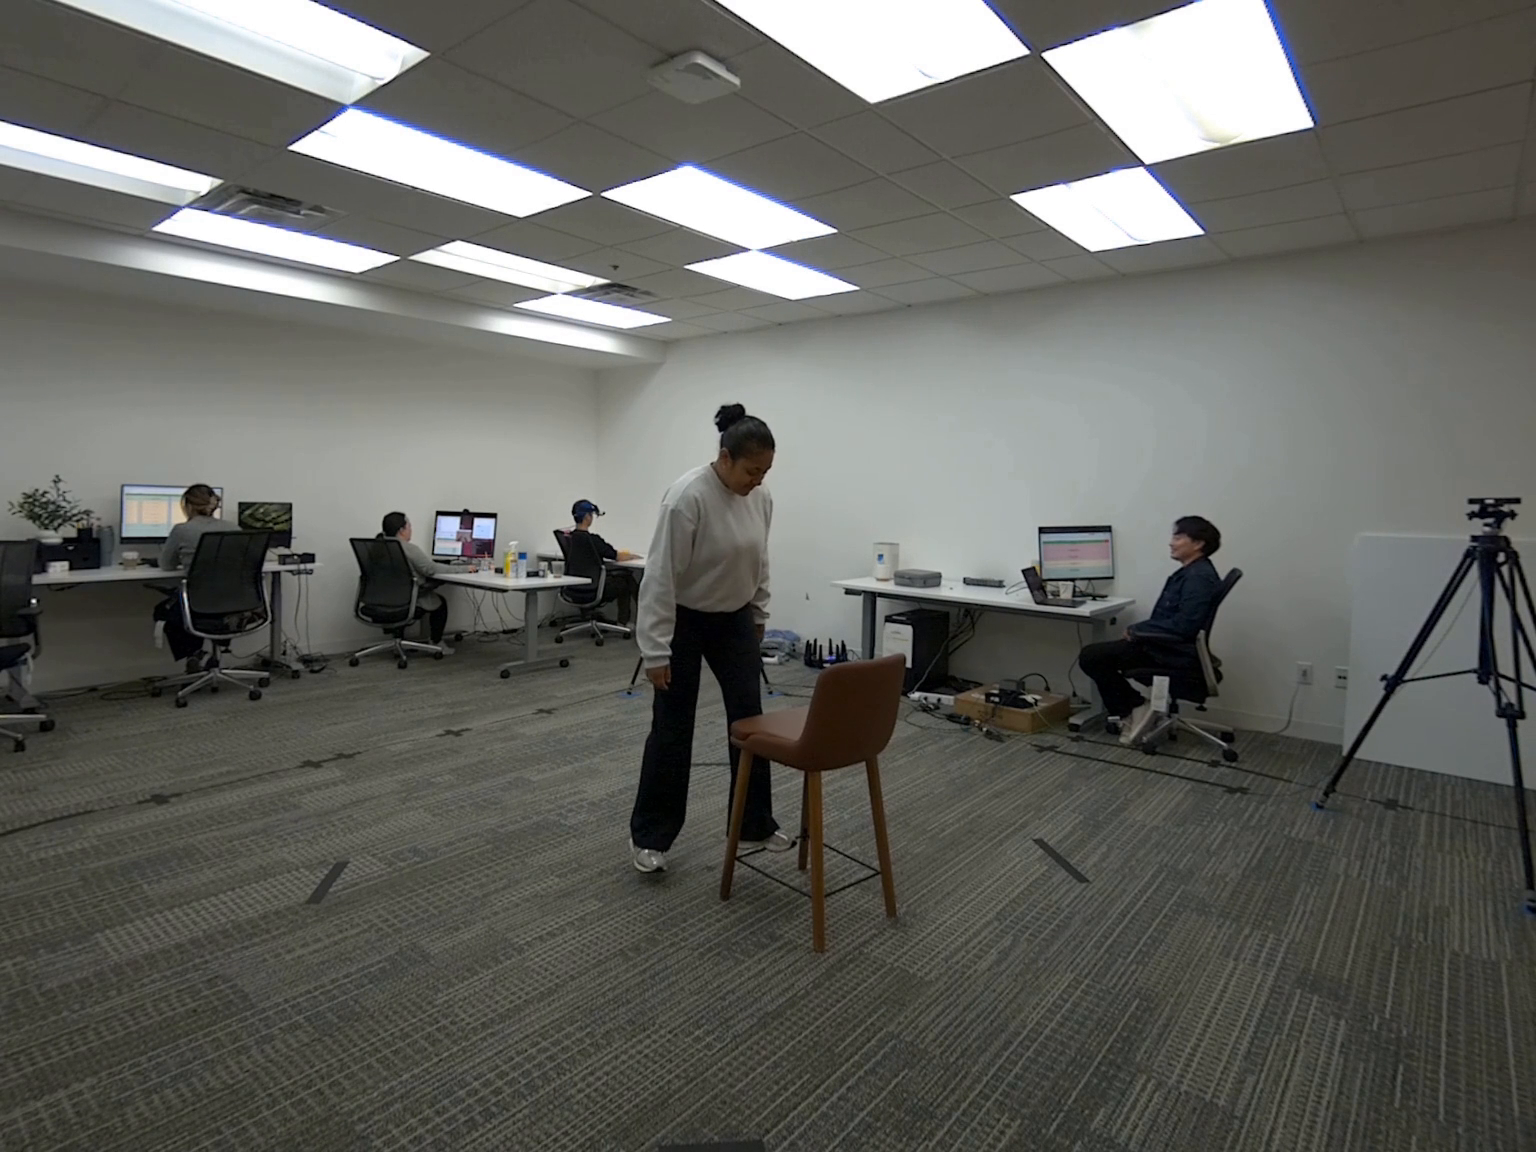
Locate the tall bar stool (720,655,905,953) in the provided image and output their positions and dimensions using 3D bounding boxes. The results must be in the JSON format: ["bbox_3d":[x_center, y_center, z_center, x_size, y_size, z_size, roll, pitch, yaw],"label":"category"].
[{"bbox_3d":[0.146,0.665,2.814,0.442,0.886,0.484,-1,6,-42],"label":"tall bar stool"}]
